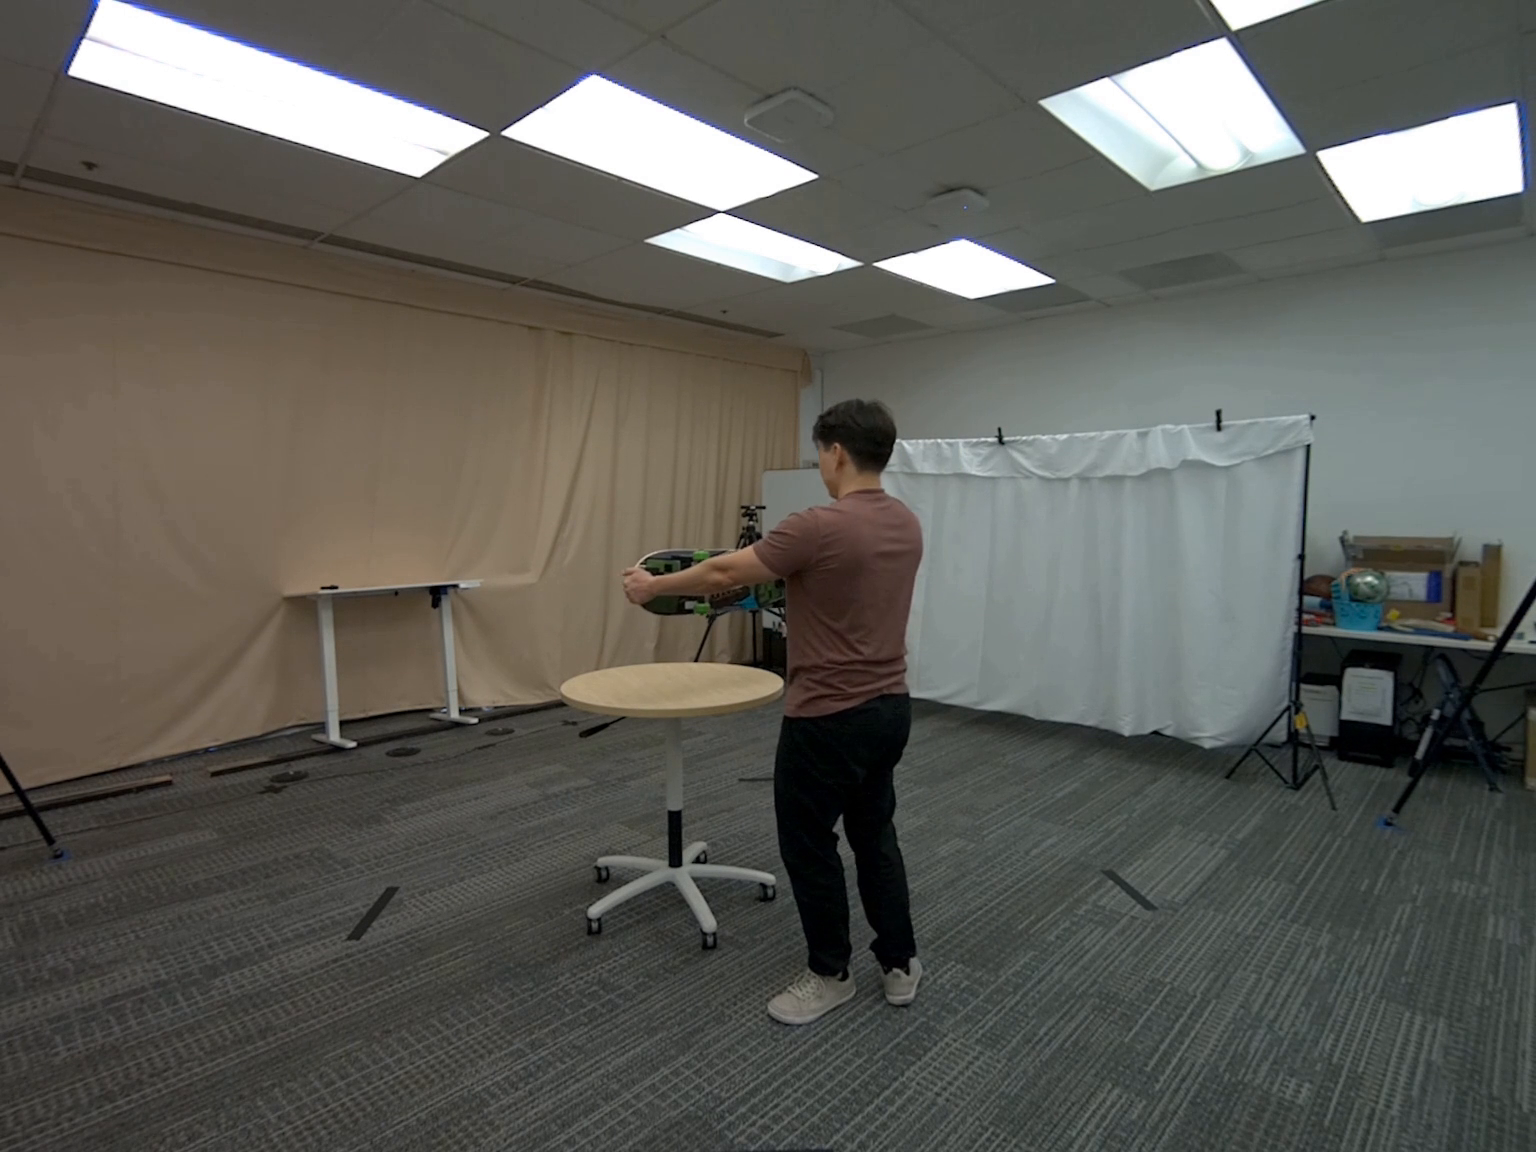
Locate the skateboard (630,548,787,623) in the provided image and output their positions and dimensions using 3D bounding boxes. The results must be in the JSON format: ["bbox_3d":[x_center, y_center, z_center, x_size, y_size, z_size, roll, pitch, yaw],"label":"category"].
[{"bbox_3d":[-0.071,0.015,2.623,0.761,0.193,0.114,-2,6,-43],"label":"skateboard"}]
